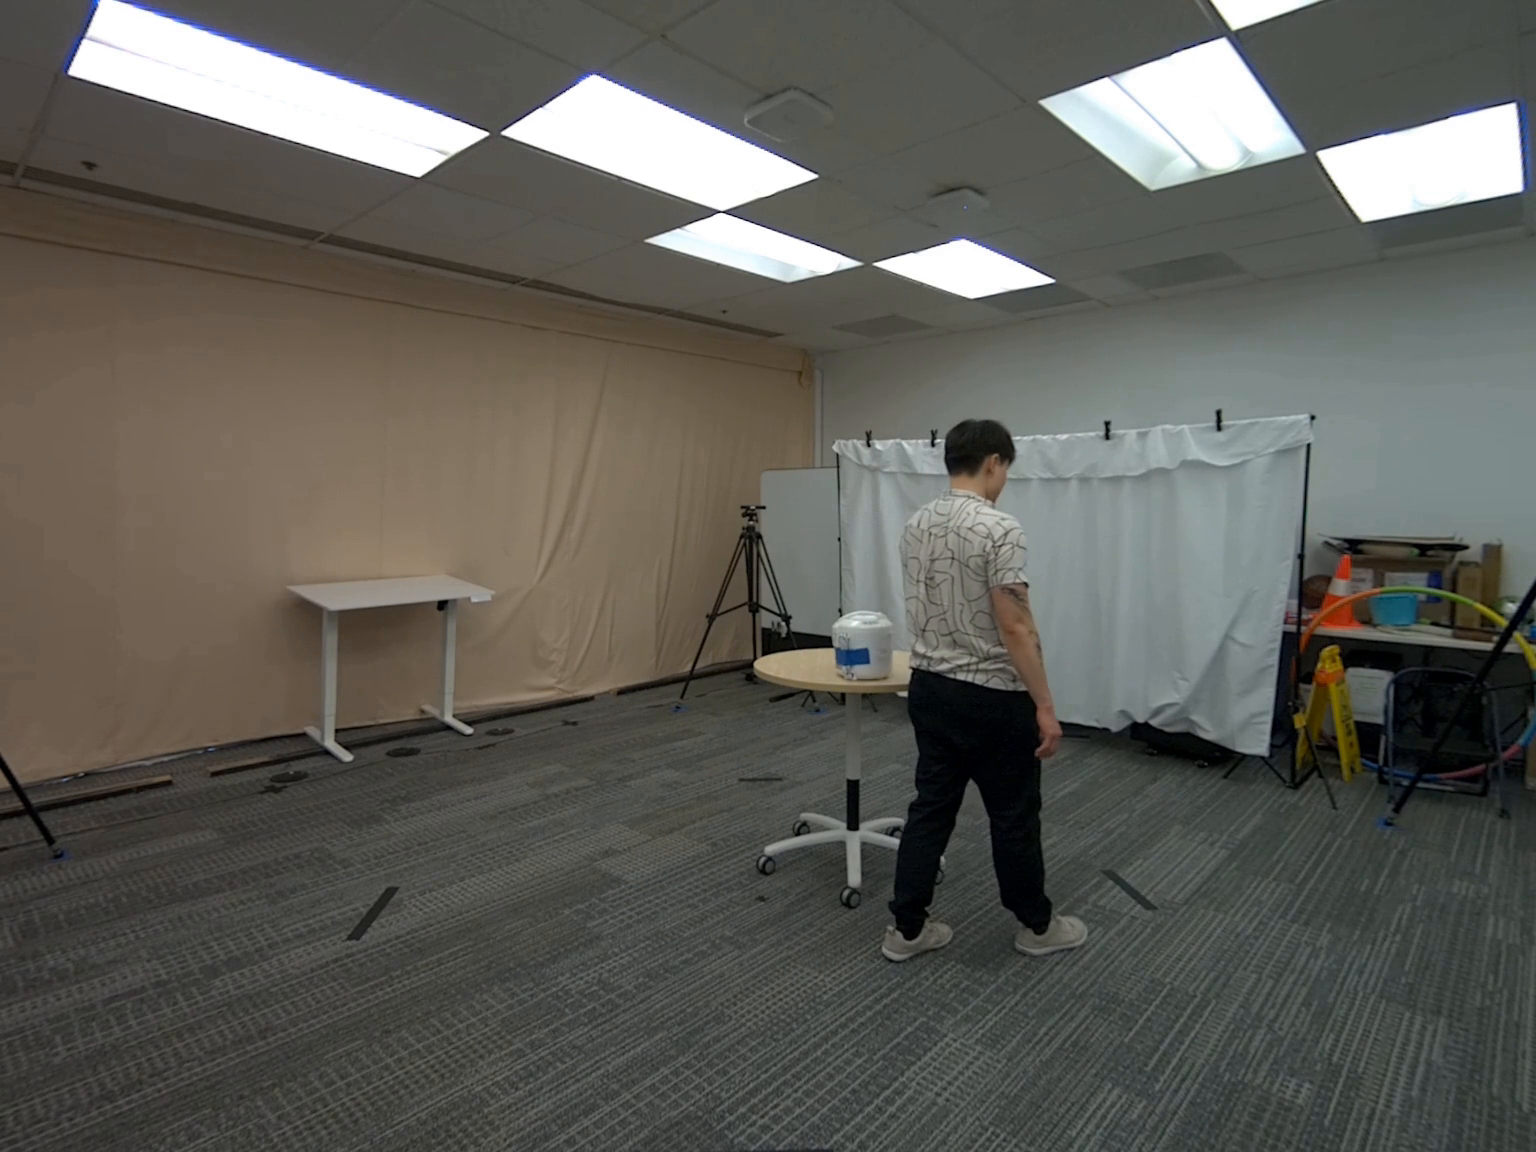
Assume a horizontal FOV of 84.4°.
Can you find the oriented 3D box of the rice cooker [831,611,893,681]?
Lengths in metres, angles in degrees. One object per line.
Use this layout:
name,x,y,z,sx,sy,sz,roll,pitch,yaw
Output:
rice cooker,0.342,0.239,3.008,0.220,0.232,0.219,-1,4,-5
